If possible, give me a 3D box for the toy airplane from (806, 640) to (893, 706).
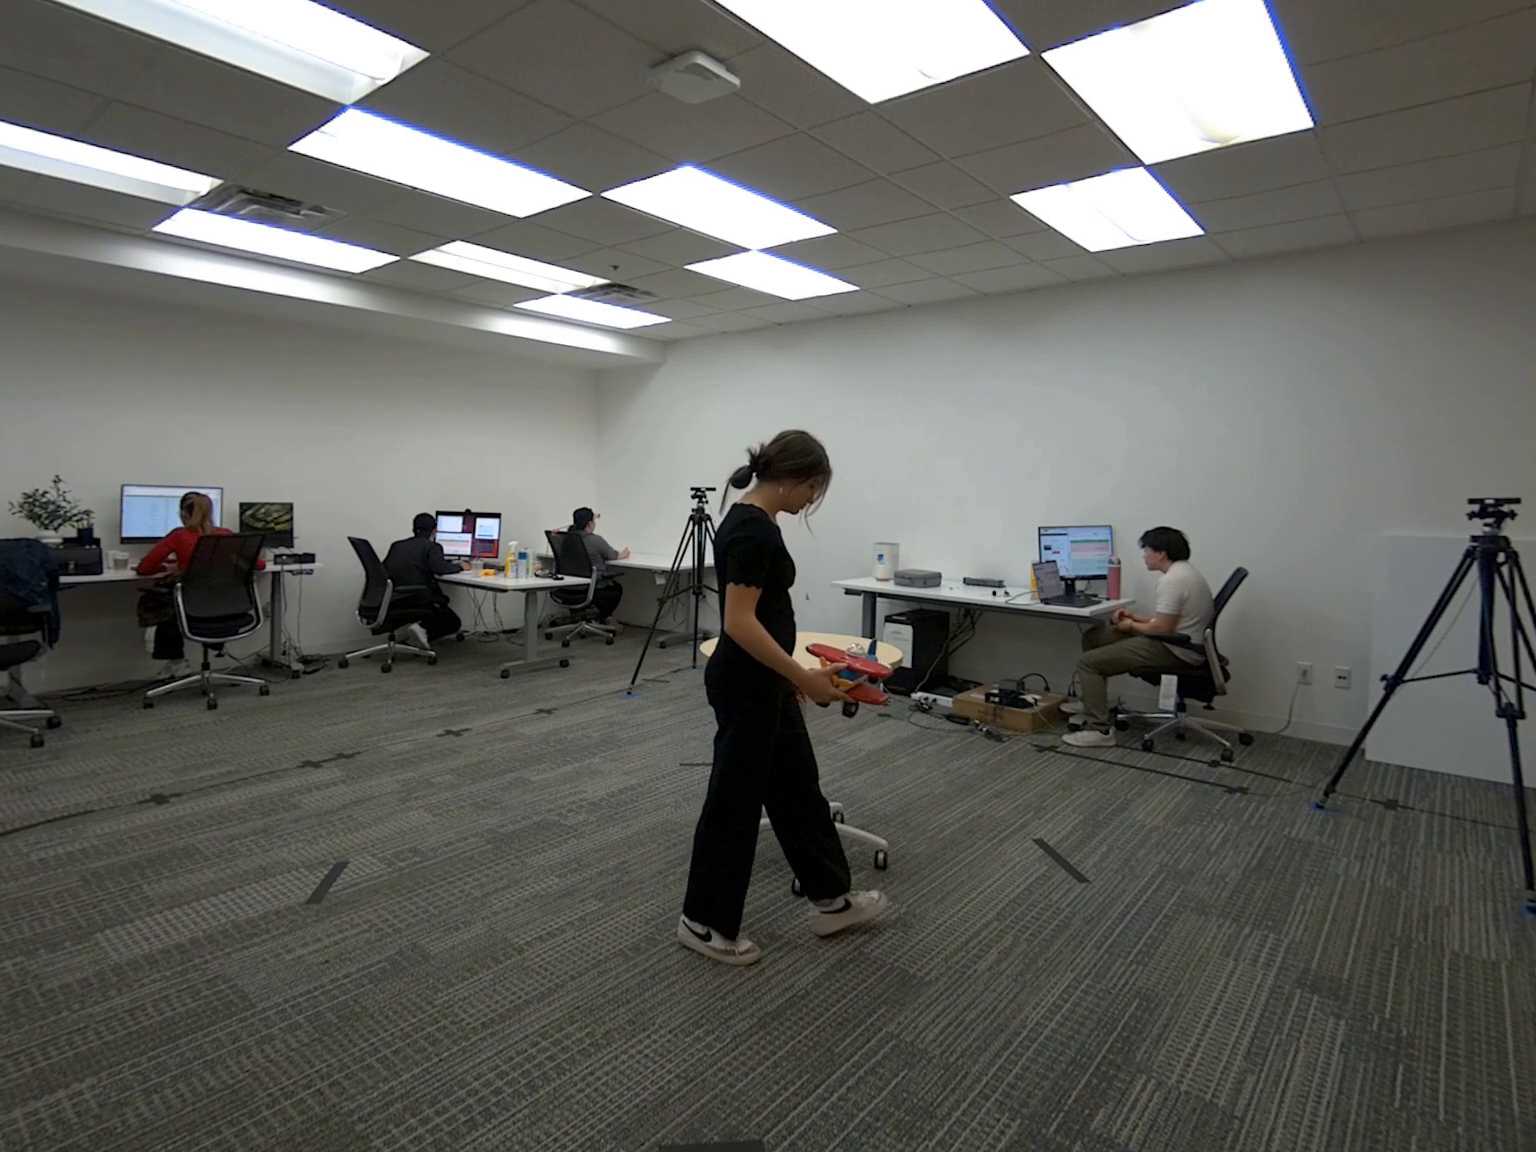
[{"bbox_3d":[0.215,0.269,2.415,0.254,0.153,0.263,2,27,8],"label":"toy airplane"}]
